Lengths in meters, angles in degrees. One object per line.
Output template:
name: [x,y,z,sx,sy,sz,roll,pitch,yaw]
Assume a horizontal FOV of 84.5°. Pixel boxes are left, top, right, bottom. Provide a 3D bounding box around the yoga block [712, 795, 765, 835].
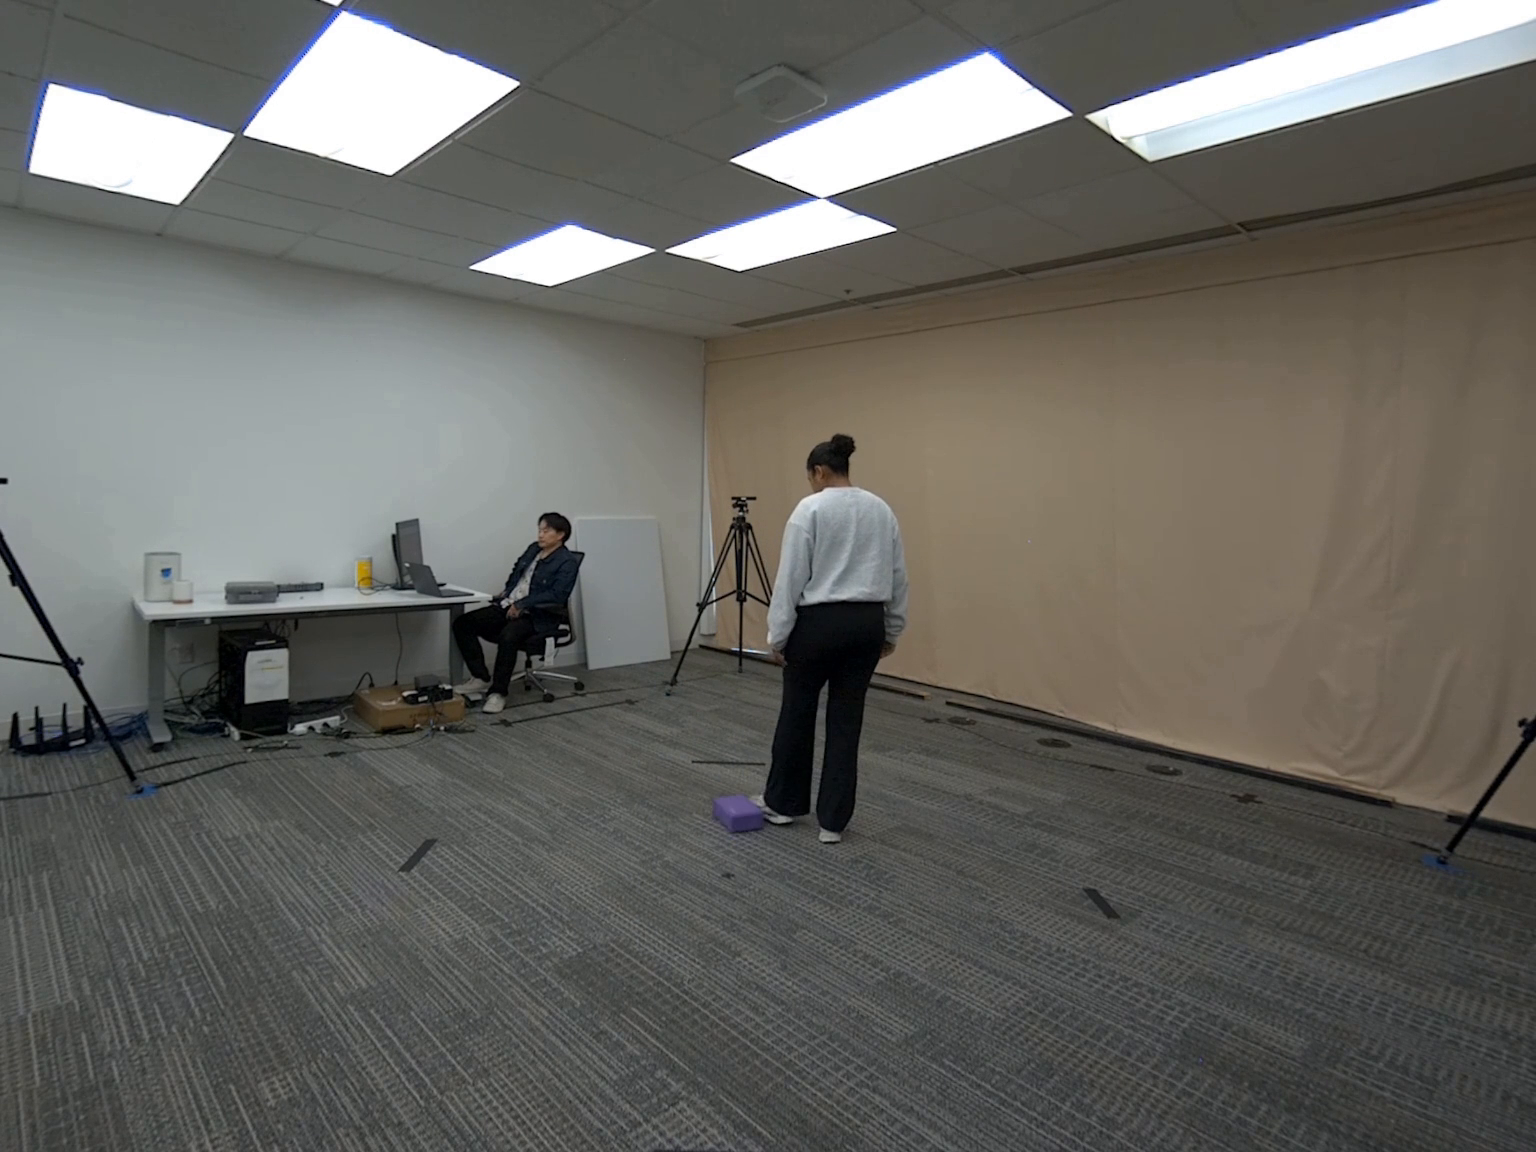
yoga block: [-0.141,1.015,3.614,0.146,0.076,0.234,-2,6,-24]
